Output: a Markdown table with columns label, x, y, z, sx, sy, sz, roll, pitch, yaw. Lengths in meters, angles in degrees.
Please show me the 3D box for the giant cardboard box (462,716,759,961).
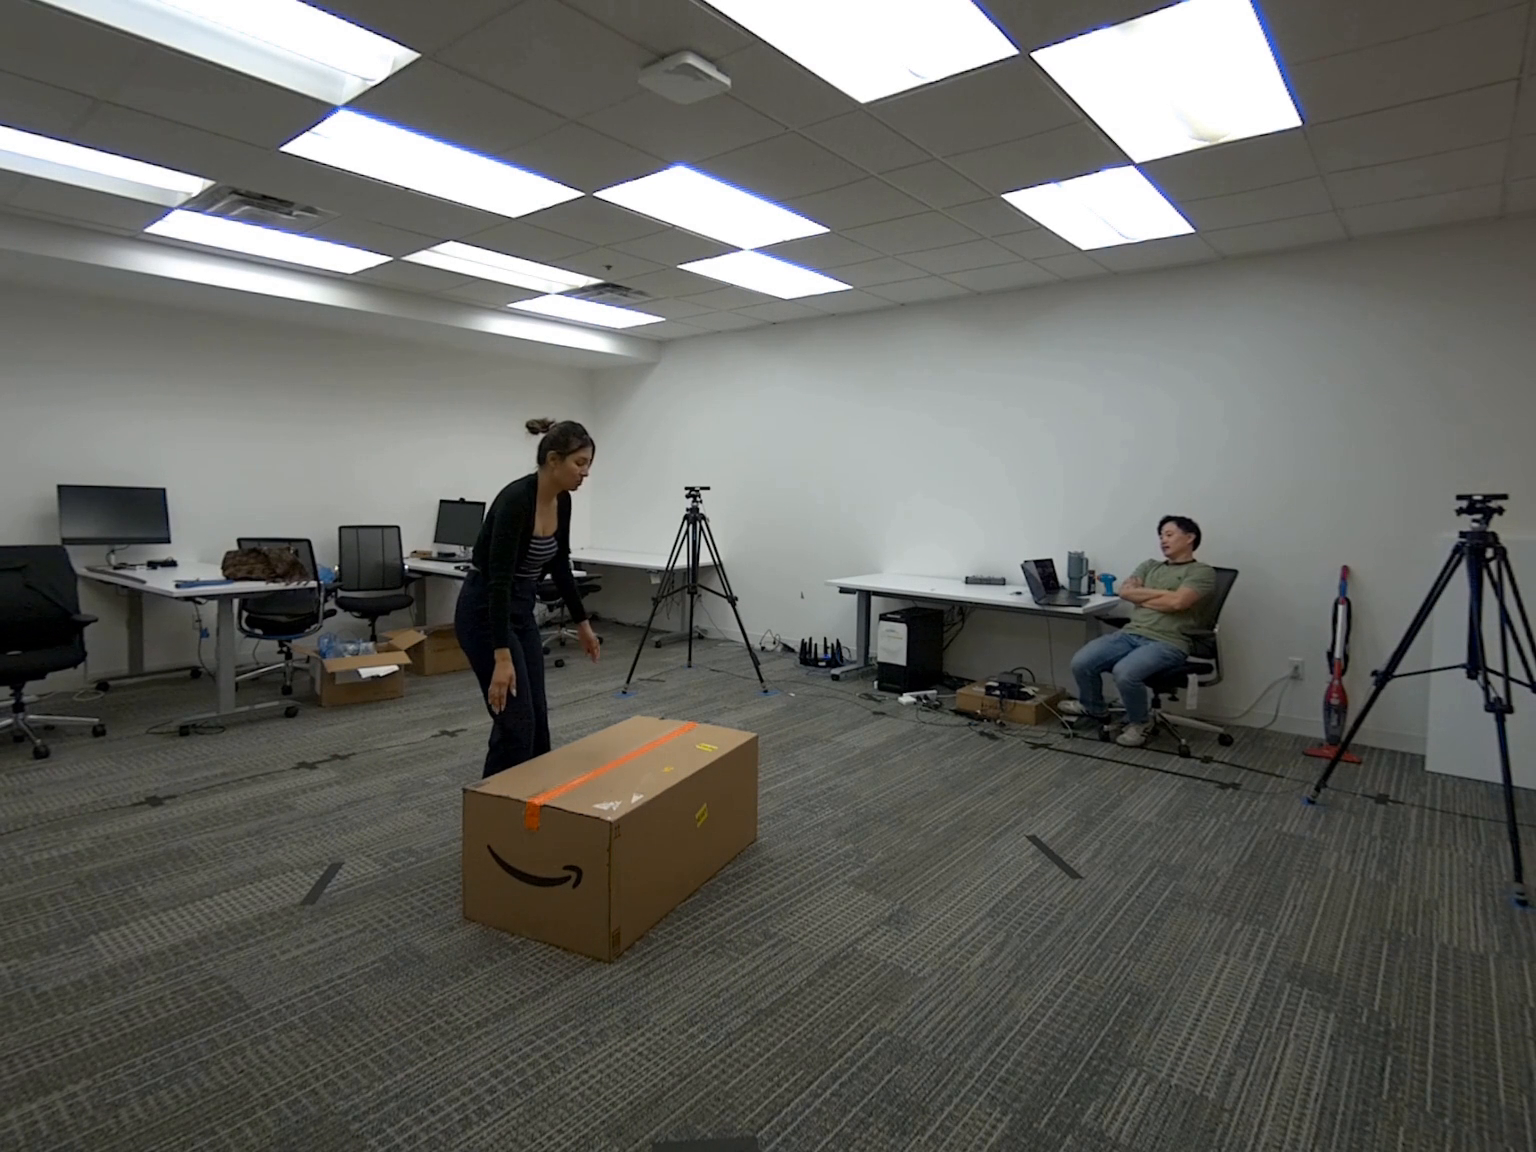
| label | x | y | z | sx | sy | sz | roll | pitch | yaw |
| --- | --- | --- | --- | --- | --- | --- | --- | --- | --- |
| giant cardboard box | -0.515 | 0.857 | 3.037 | 0.592 | 0.424 | 1.004 | 2 | 5 | 25 |
